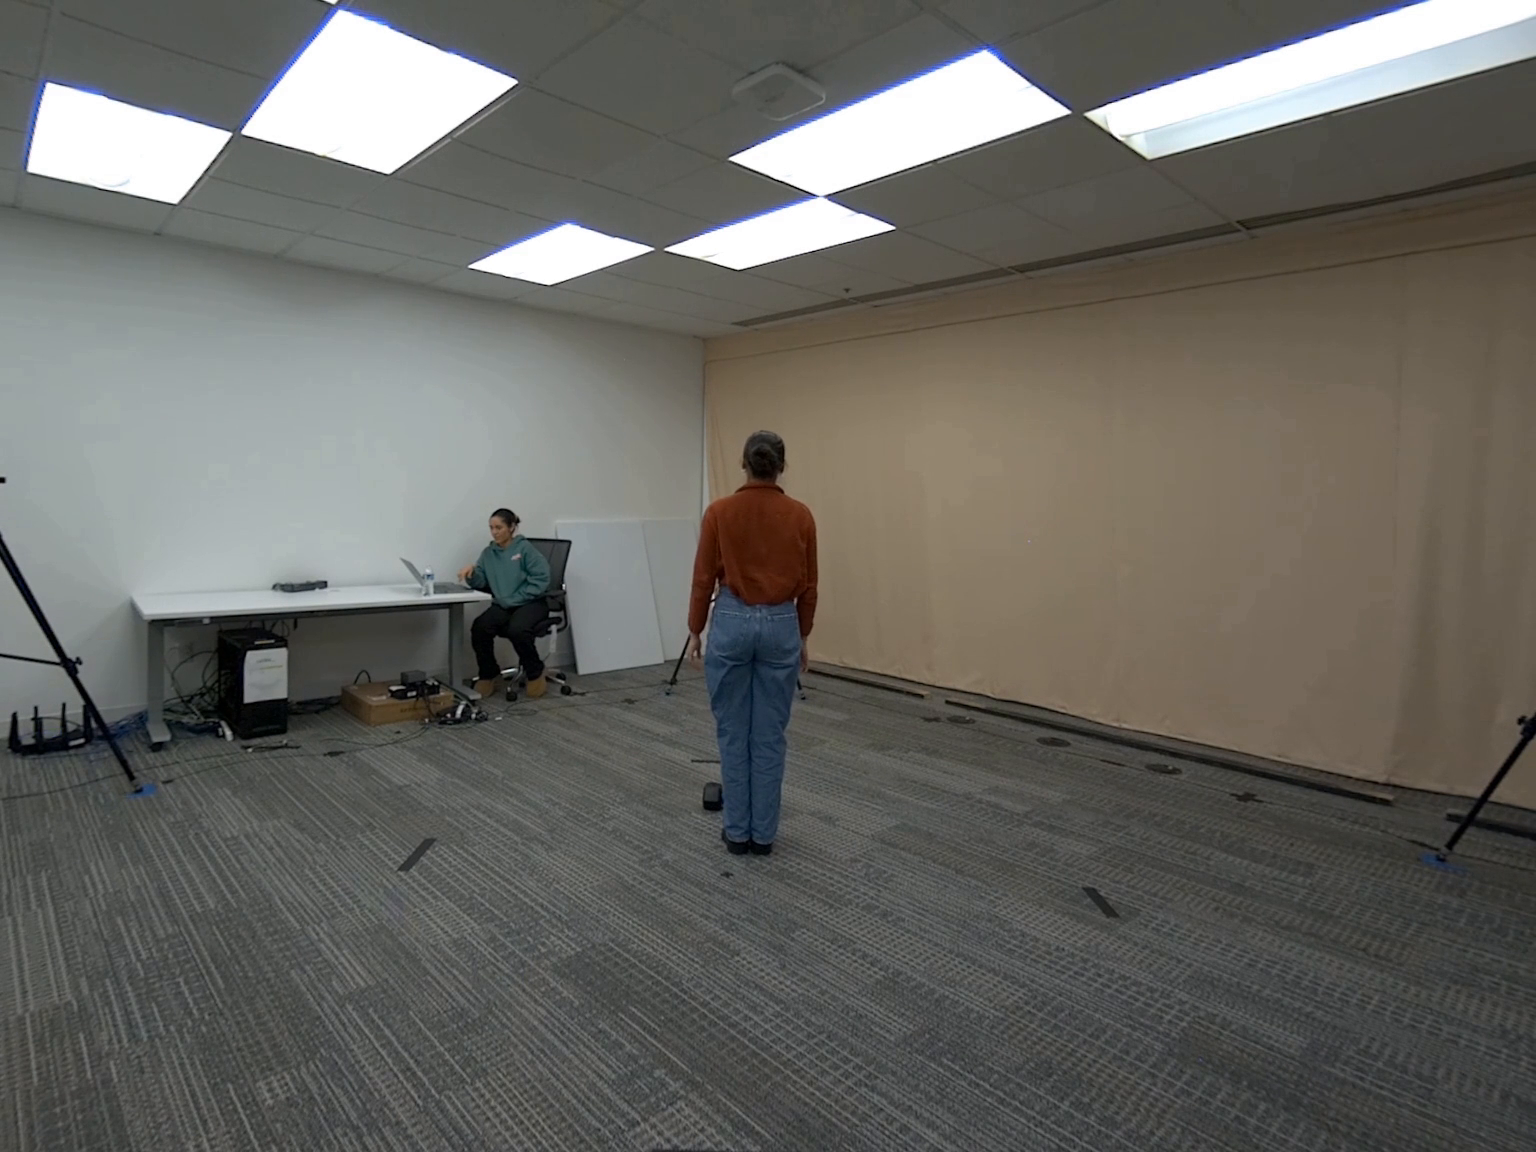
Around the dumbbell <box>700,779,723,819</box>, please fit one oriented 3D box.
[{"bbox_3d":[-0.146,0.995,3.755,0.295,0.120,0.110,2,34,6],"label":"dumbbell"}]
